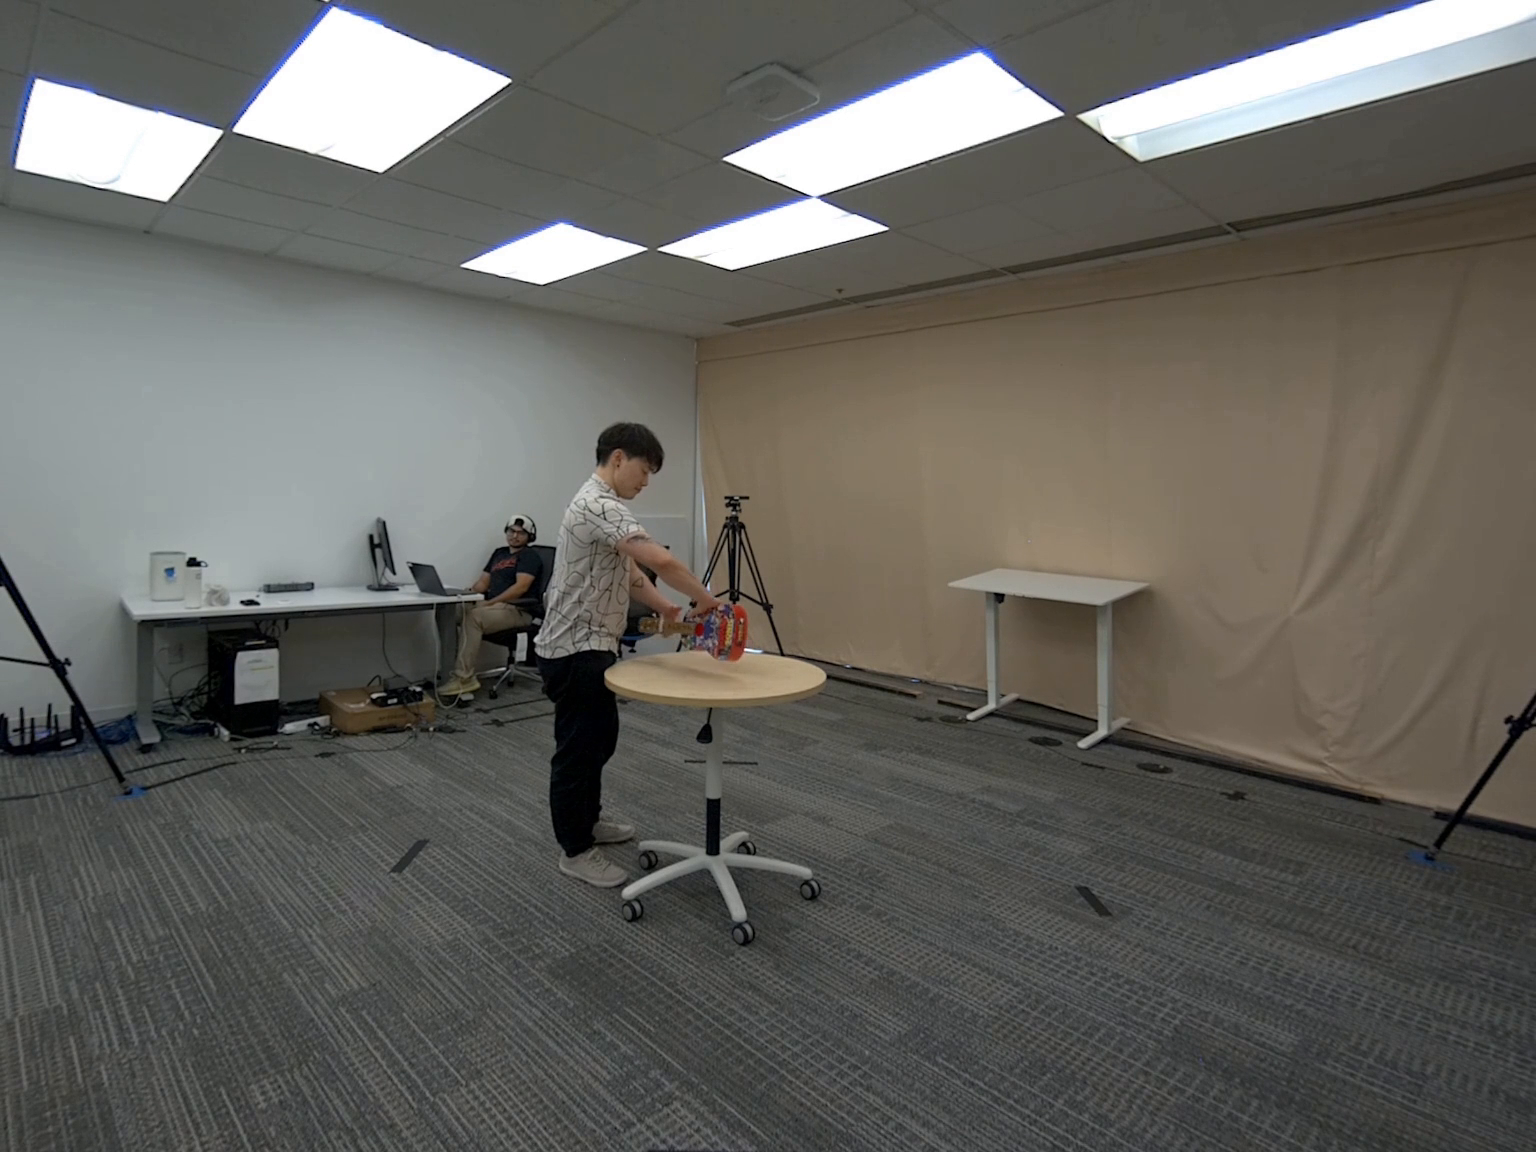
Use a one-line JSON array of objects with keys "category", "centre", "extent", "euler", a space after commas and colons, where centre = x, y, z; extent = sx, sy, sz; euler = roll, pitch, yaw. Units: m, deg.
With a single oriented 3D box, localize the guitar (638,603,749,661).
[{"category": "guitar", "centre": [-0.281, 0.162, 2.988], "extent": [0.512, 0.193, 0.069], "euler": [13, 1, 44]}]
